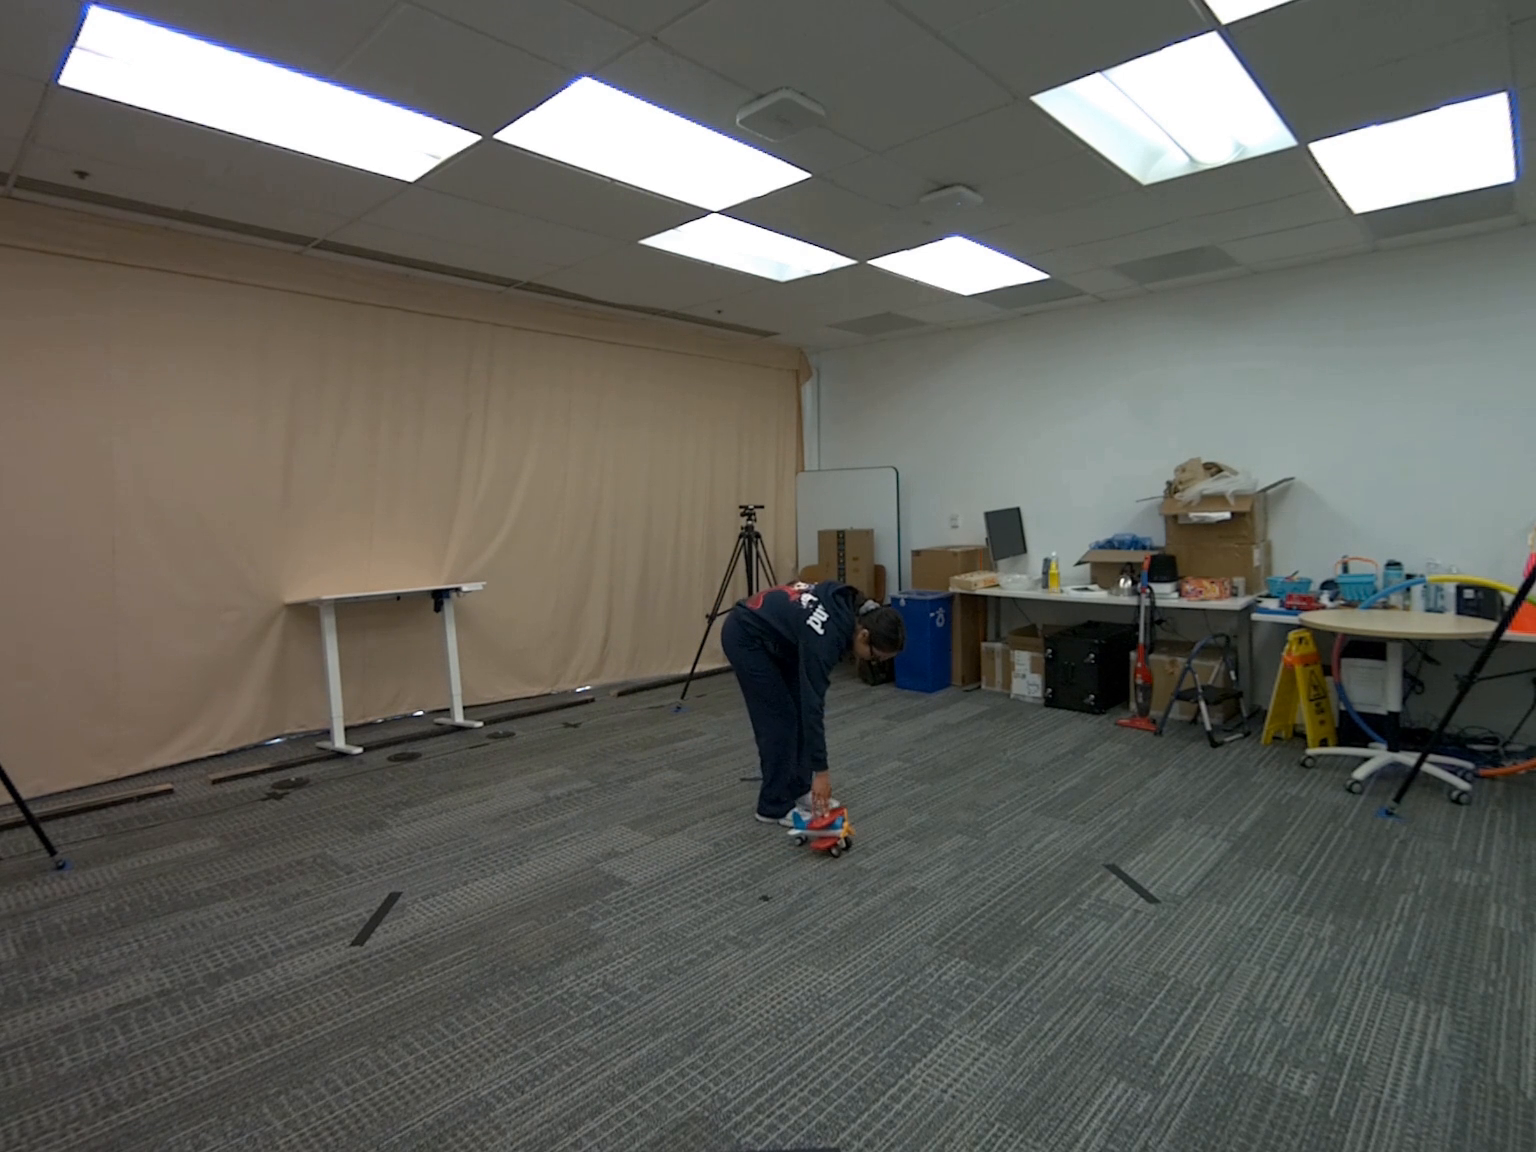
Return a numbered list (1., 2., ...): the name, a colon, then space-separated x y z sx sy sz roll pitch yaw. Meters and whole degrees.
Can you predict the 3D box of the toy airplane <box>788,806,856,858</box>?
1. toy airplane: 0.205 1.027 3.379 0.261 0.156 0.250 1 4 6
